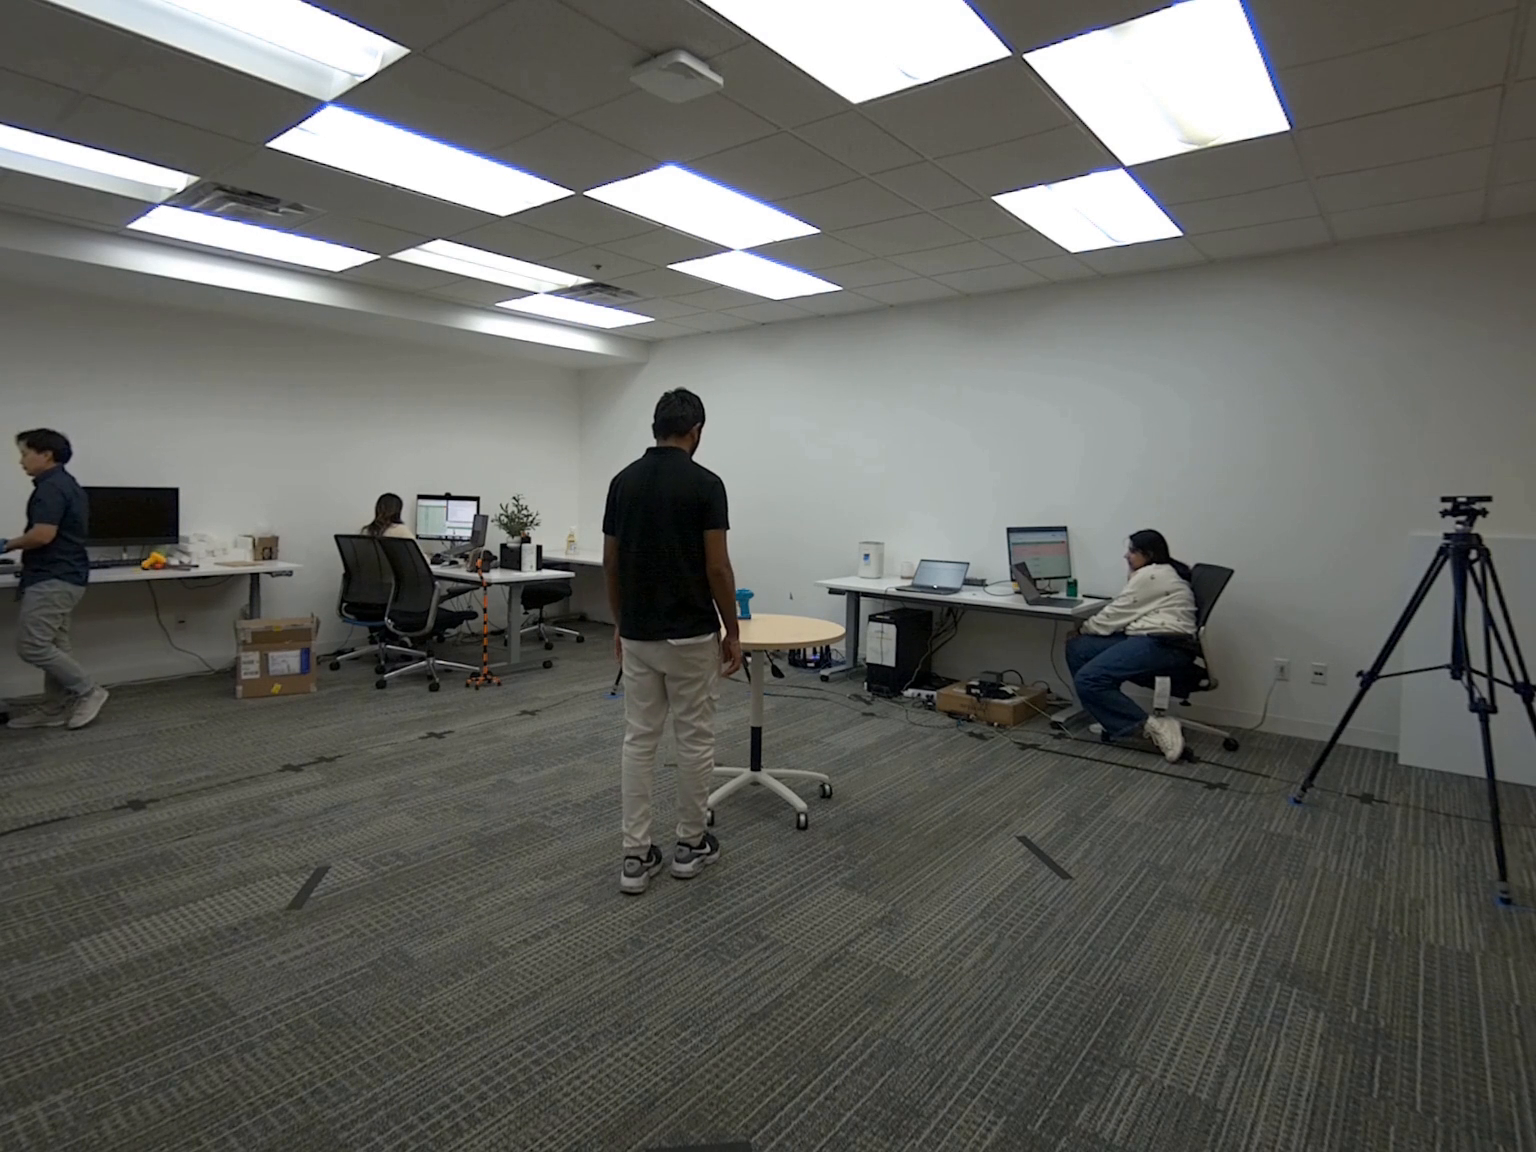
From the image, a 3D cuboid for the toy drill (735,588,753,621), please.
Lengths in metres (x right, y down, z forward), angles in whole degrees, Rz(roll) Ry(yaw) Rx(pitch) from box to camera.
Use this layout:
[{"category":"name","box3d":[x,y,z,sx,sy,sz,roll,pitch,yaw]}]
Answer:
[{"category":"toy drill","box3d":[-0.166,0.124,3.978,0.168,0.146,0.062,0,2,-8]}]
